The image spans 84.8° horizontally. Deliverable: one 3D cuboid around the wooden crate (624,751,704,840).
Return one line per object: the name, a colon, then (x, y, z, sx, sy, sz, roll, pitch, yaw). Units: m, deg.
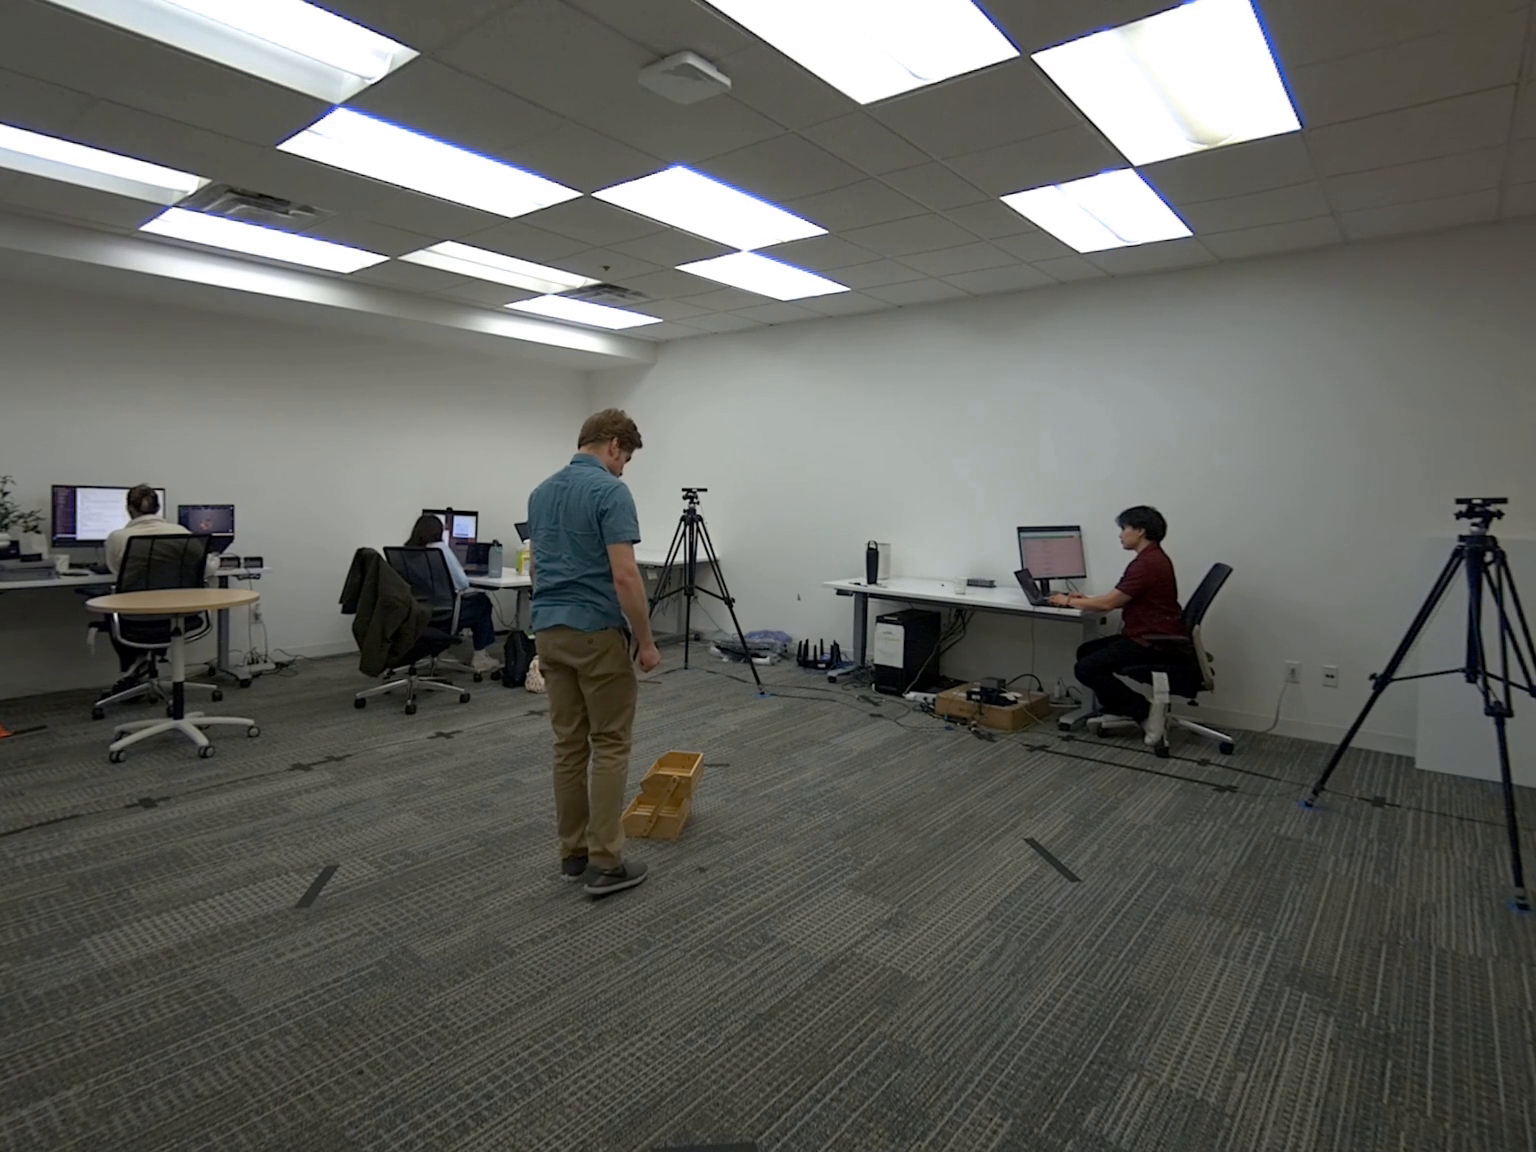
wooden crate: (-0.460, 0.891, 3.529, 0.304, 0.272, 0.323, 2, 5, 6)
